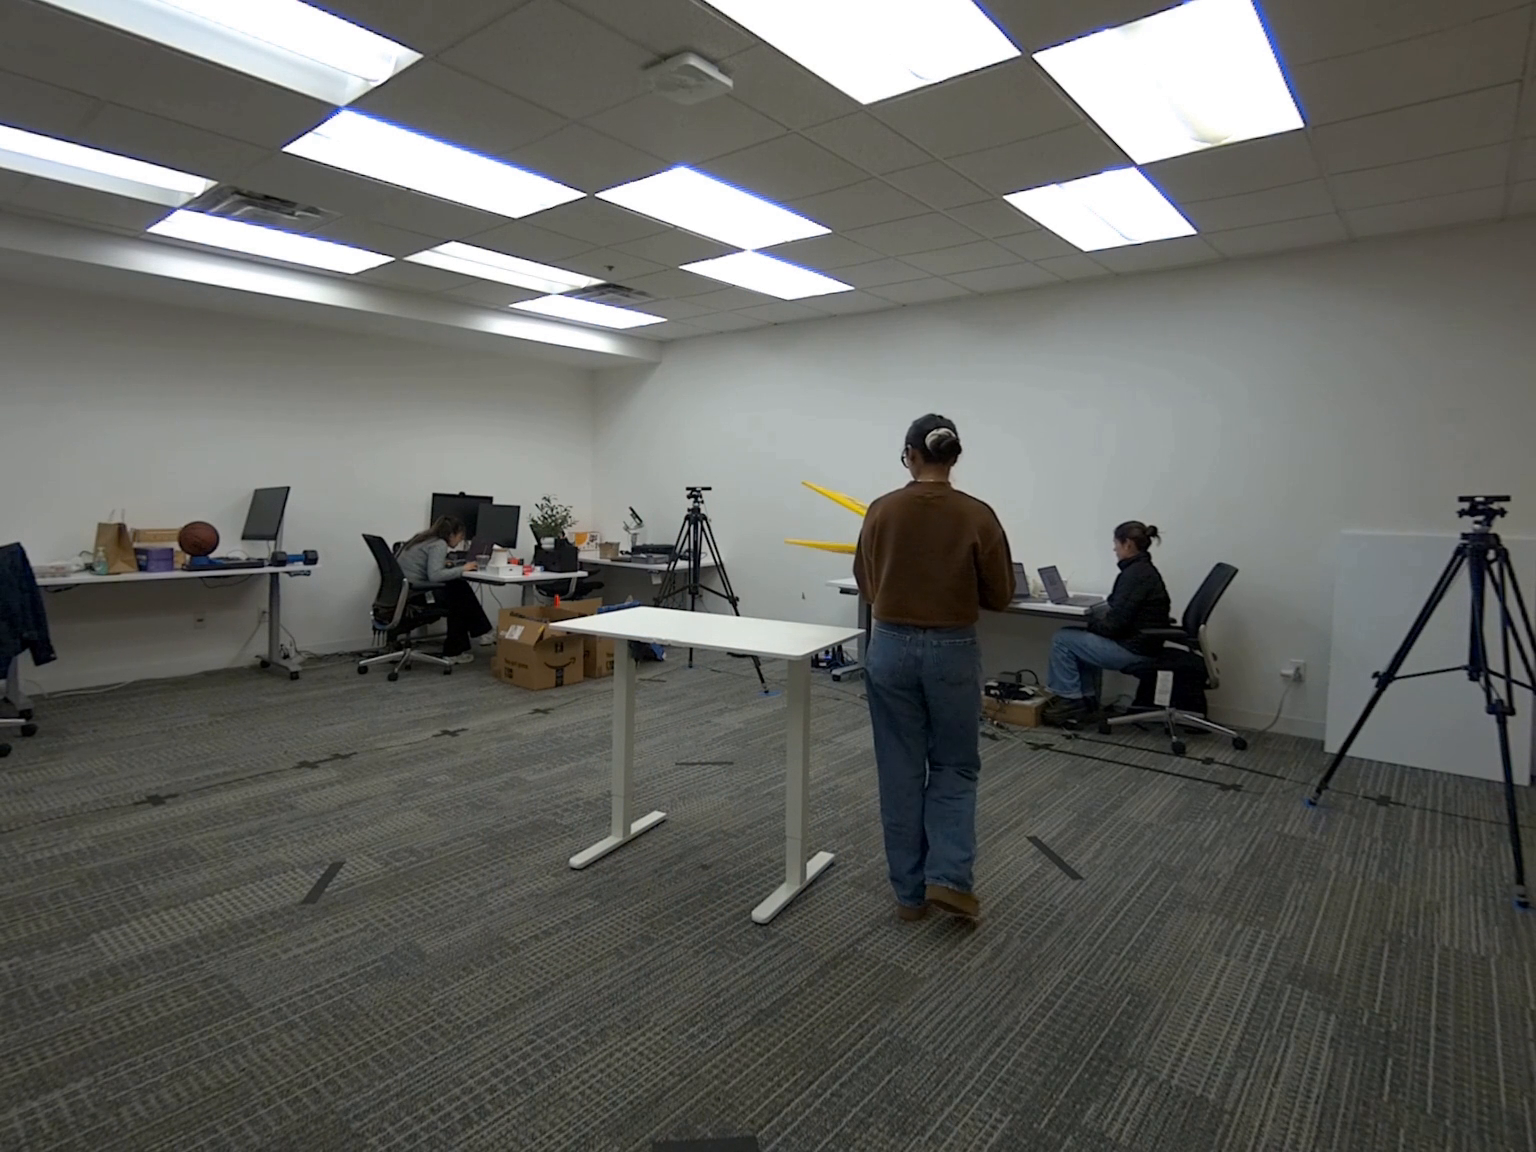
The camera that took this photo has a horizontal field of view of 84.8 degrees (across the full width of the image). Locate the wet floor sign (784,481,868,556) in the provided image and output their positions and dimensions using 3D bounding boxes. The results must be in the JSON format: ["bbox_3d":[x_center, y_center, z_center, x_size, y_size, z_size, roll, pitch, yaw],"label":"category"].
[{"bbox_3d":[0.401,-0.151,3.211,0.272,0.289,0.672,13,5,-44],"label":"wet floor sign"}]
